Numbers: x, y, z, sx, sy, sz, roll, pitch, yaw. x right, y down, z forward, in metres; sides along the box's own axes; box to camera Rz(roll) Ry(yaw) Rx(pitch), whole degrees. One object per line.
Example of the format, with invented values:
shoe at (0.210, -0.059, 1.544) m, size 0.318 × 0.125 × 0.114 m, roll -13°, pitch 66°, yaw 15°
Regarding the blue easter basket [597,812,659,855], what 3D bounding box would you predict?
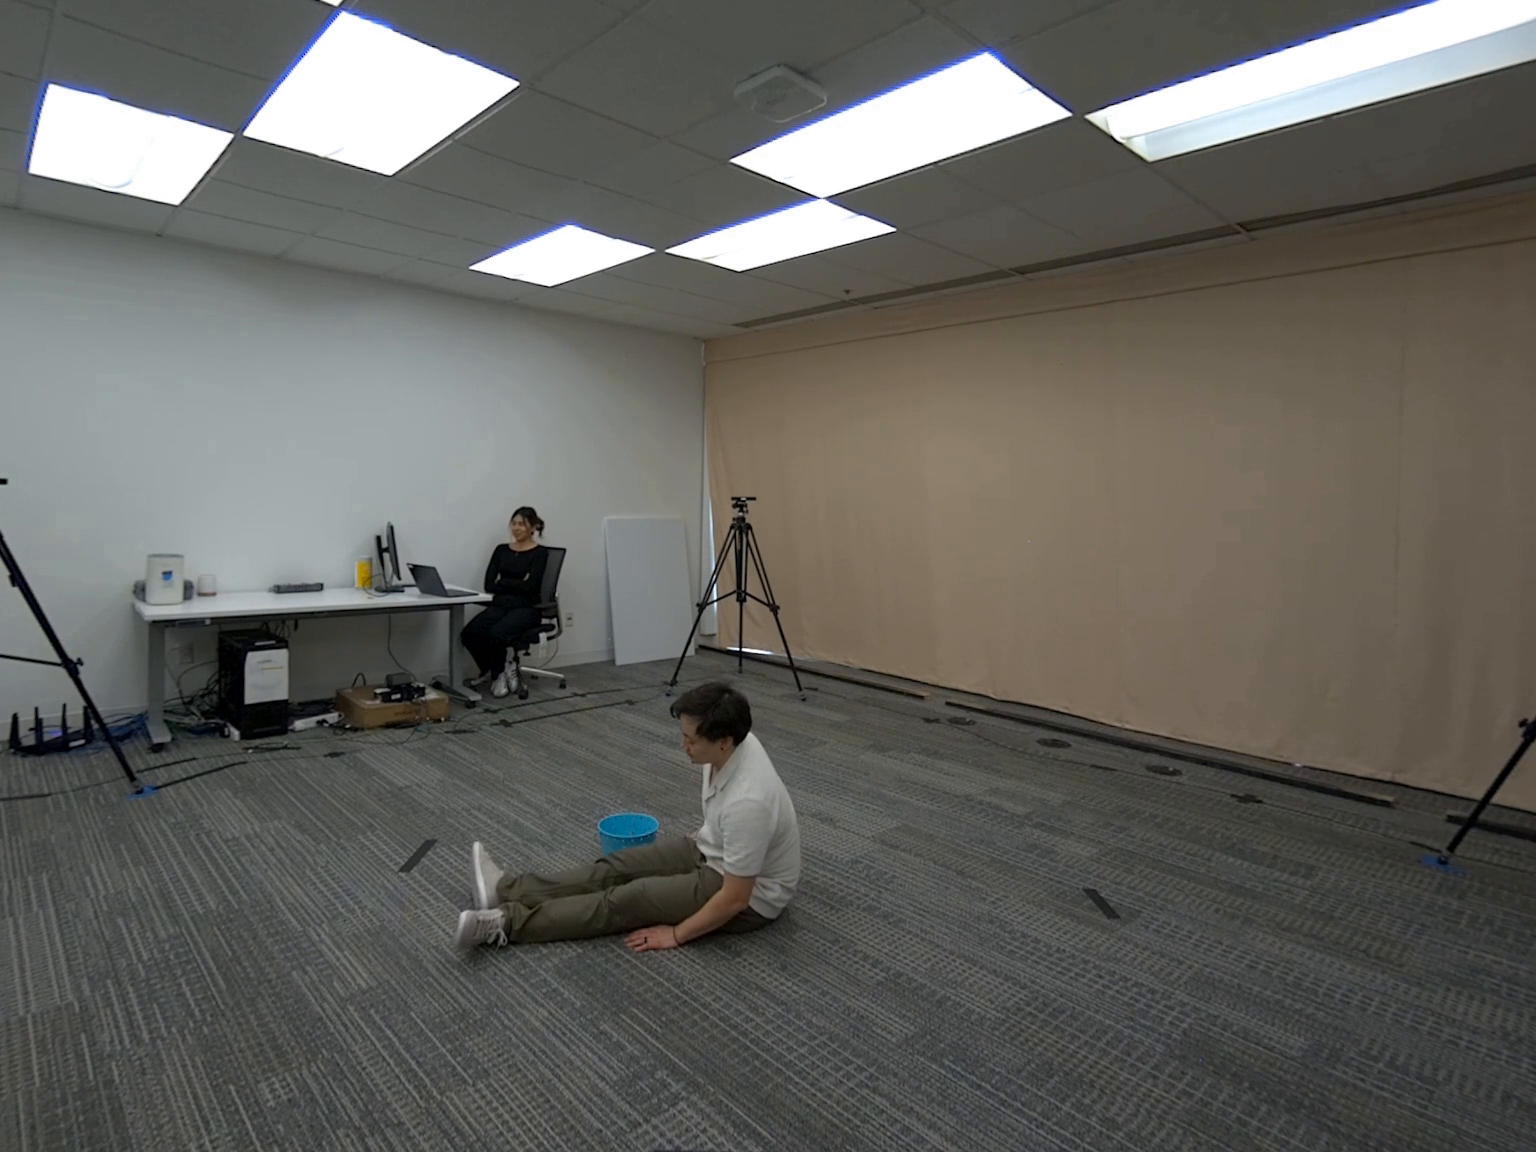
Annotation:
blue easter basket at (-0.542, 1.018, 3.187) m, size 0.243 × 0.155 × 0.244 m, roll 2°, pitch 4°, yaw -2°
